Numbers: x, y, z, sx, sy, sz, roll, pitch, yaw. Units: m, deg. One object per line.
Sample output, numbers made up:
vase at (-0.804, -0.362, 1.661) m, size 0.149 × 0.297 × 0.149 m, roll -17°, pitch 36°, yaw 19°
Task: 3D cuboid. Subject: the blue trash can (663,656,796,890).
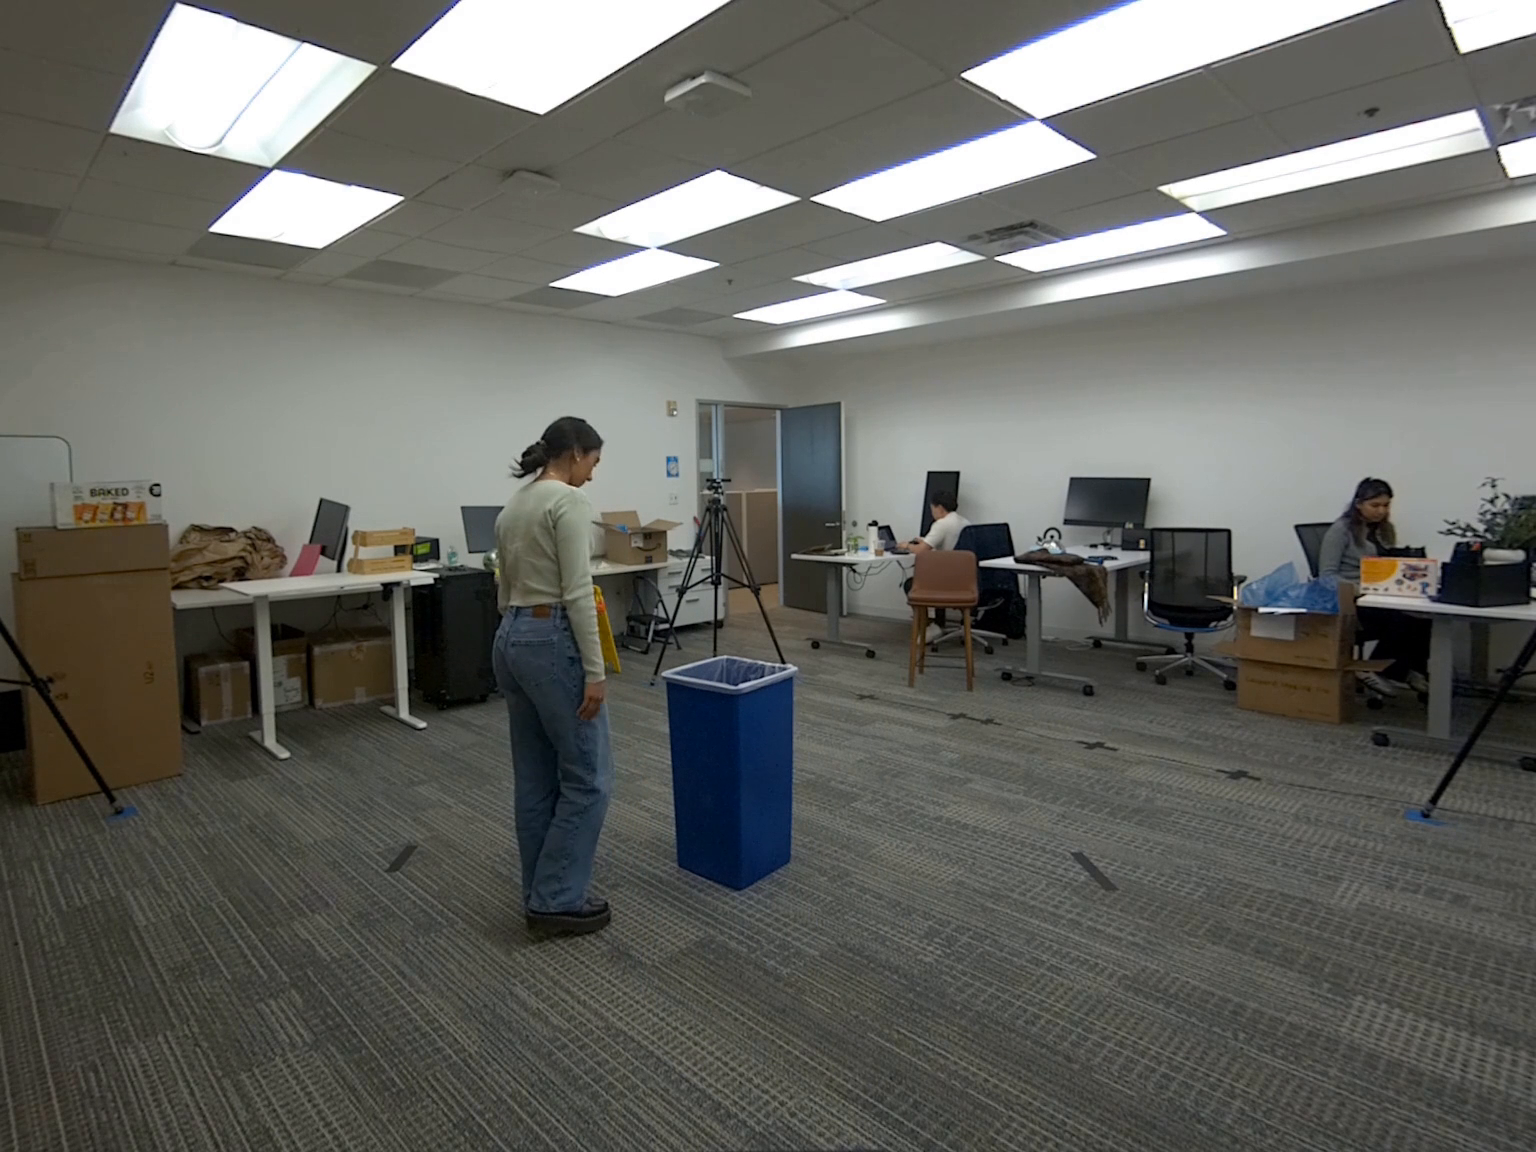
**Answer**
blue trash can at (-0.126, 0.690, 3.071) m, size 0.389 × 0.711 × 0.364 m, roll 2°, pitch 5°, yaw 39°
